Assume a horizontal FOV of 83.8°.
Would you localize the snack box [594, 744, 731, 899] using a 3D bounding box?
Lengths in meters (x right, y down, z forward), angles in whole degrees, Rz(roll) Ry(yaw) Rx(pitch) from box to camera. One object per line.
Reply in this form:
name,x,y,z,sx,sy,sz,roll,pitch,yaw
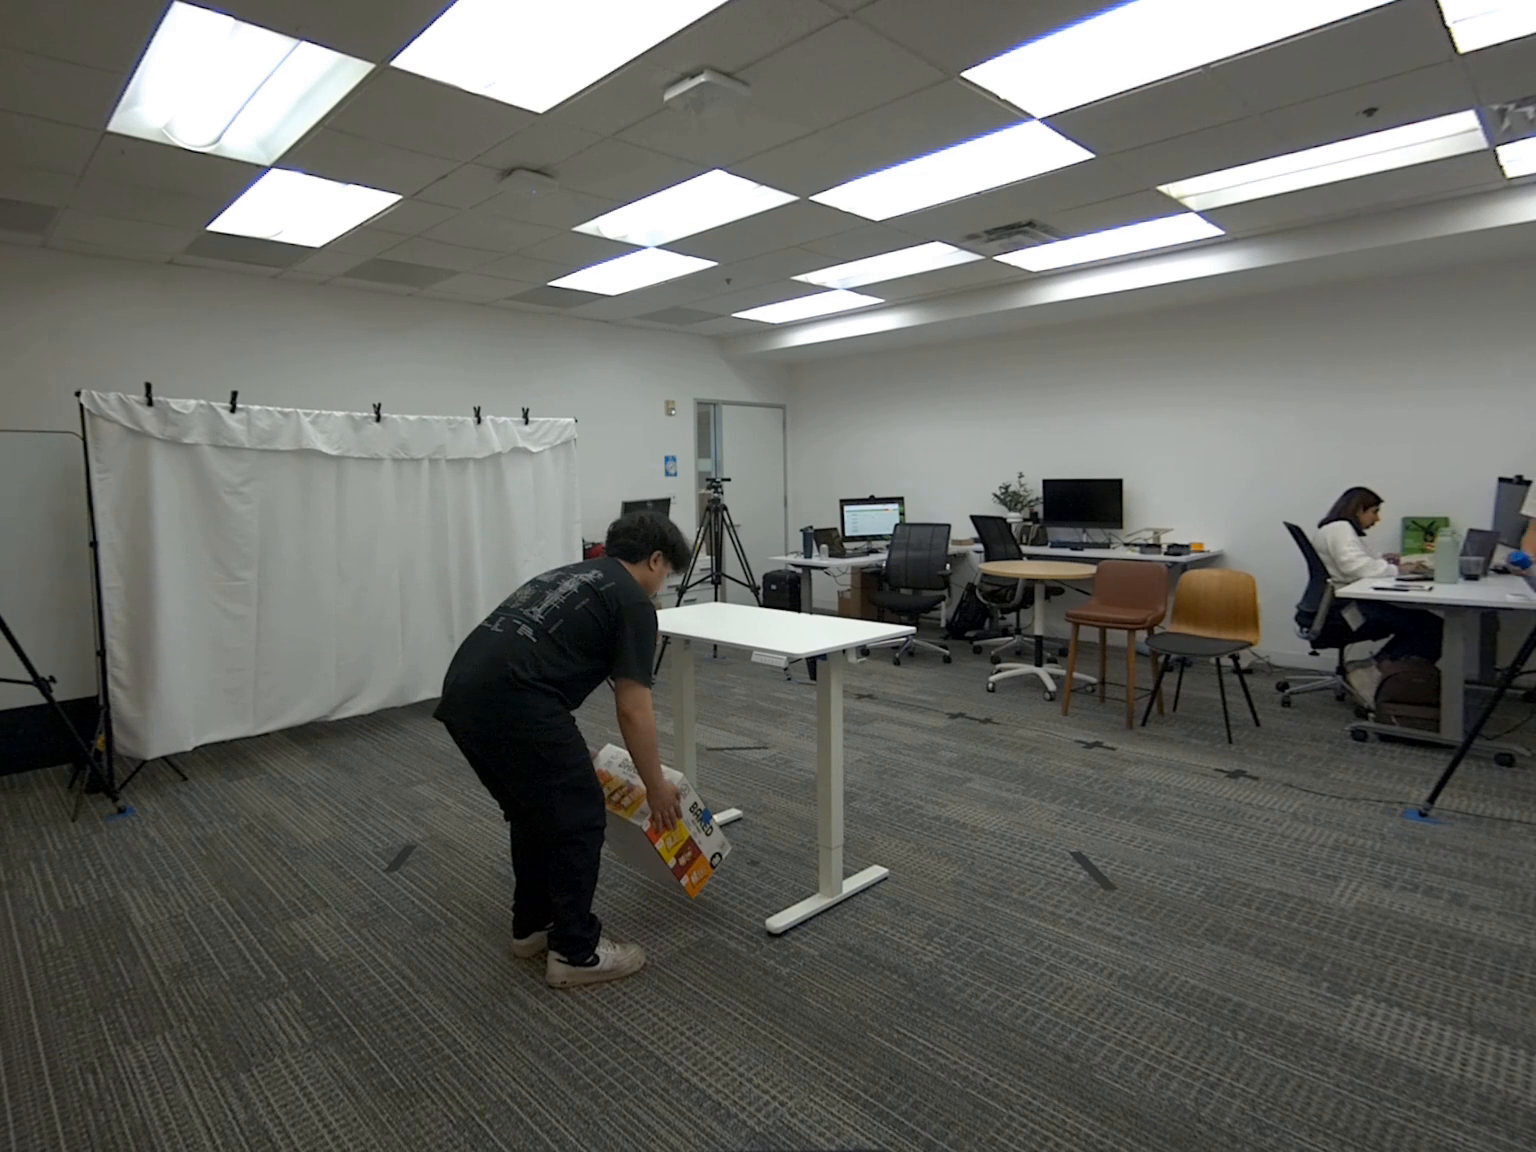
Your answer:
snack box,-0.376,0.766,2.708,0.418,0.330,0.205,5,40,46
